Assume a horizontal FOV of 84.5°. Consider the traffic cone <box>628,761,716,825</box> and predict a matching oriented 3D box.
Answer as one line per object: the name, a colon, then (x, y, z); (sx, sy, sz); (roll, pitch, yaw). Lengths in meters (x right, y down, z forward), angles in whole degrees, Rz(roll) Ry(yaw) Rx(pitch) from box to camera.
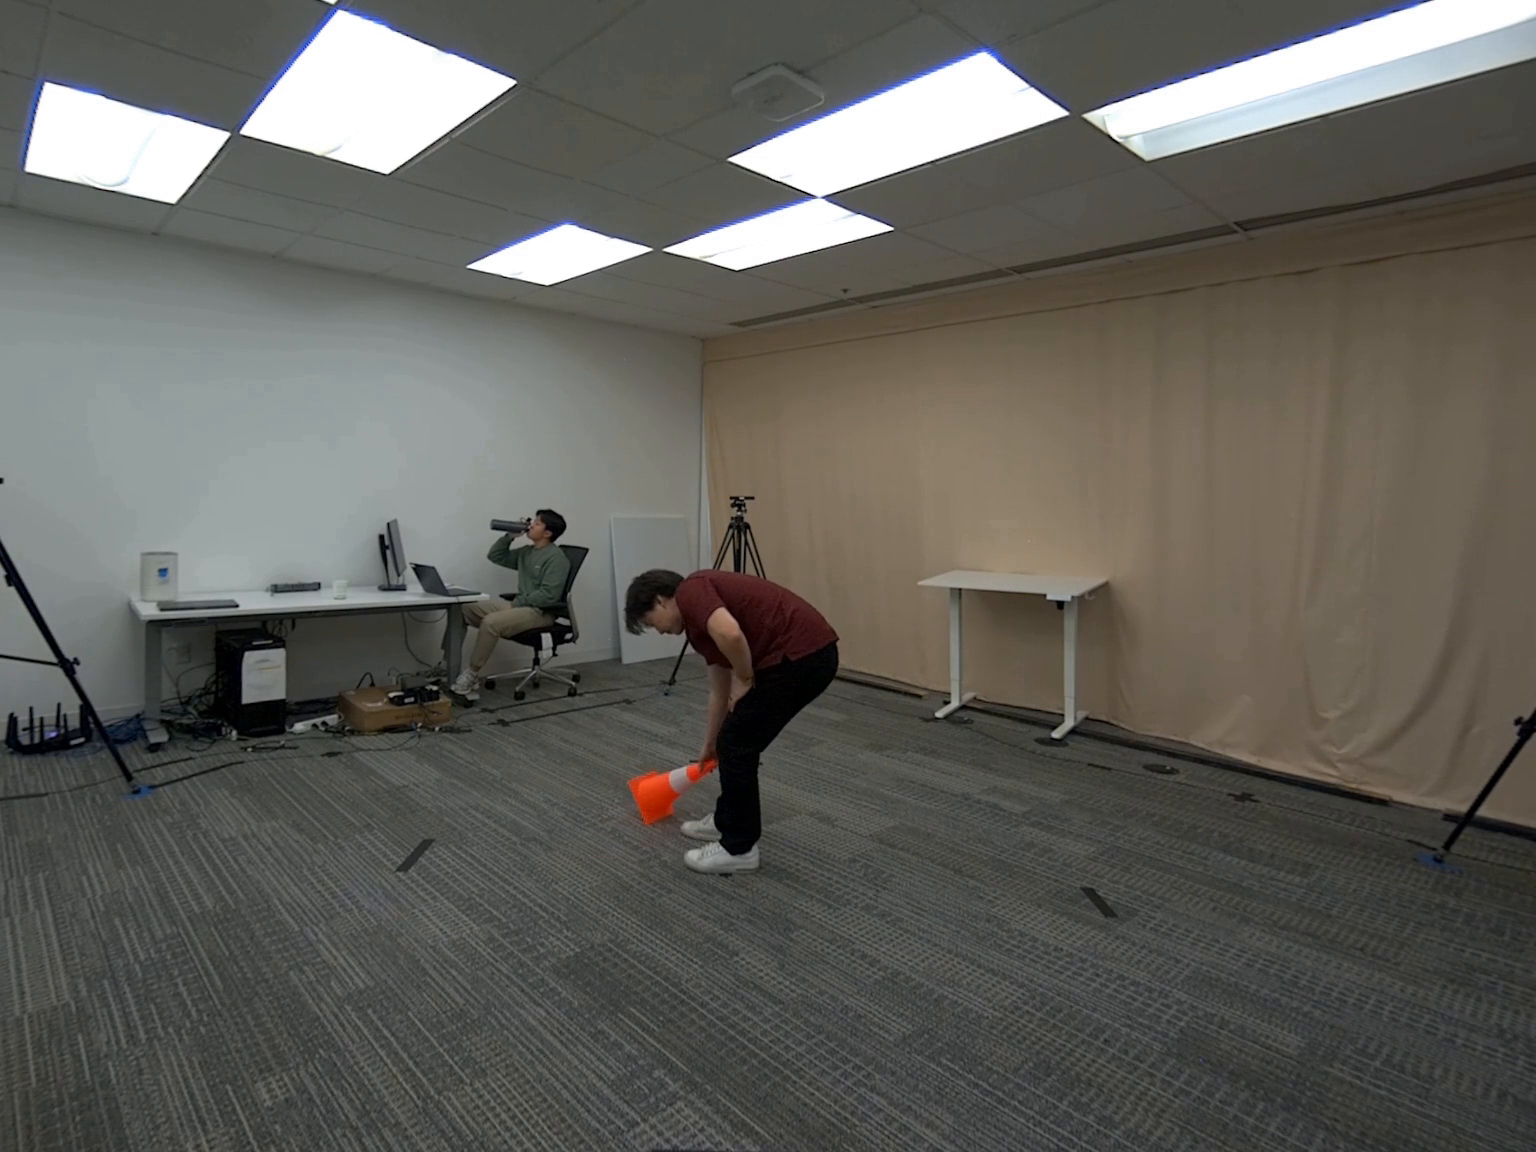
traffic cone: (-0.378, 0.870, 3.581); (0.385, 0.207, 0.200); (-35, -18, 24)
